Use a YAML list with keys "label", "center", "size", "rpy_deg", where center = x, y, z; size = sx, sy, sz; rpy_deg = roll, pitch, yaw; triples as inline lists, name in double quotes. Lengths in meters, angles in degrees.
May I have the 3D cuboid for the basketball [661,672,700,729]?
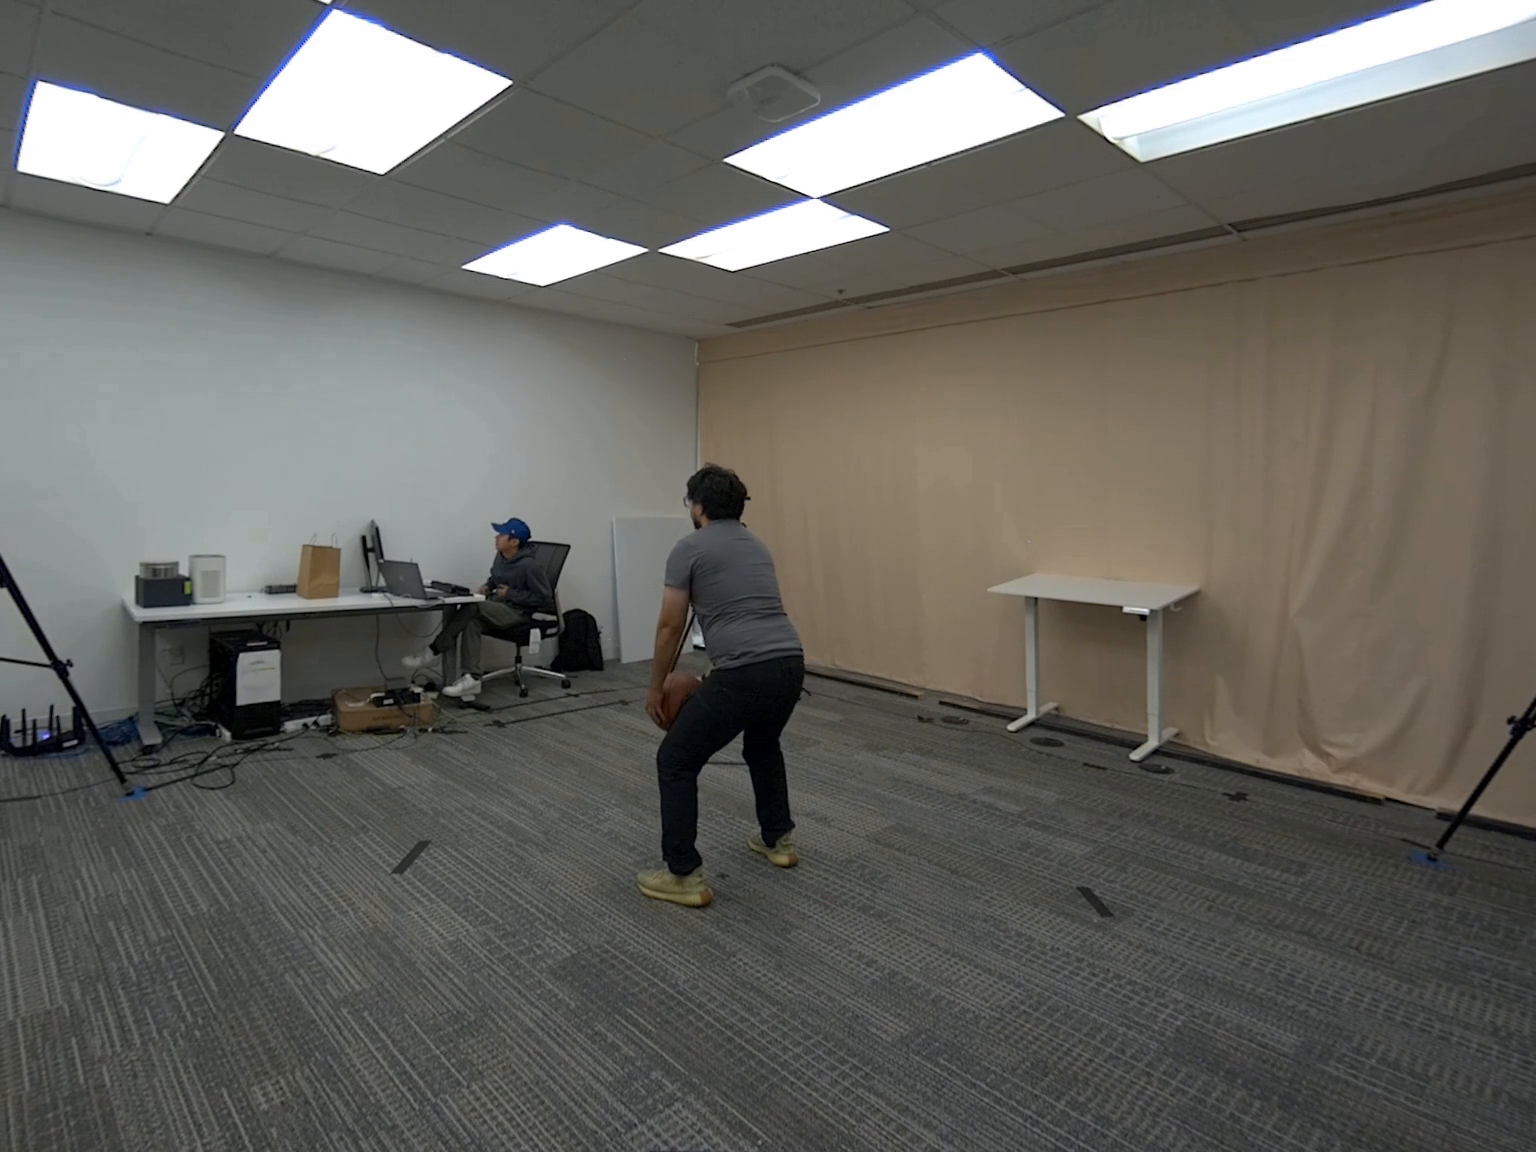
- label: "basketball"
  center: [-0.348, 0.498, 3.291]
  size: [0.236, 0.235, 0.237]
  rpy_deg: [1, 4, -1]
